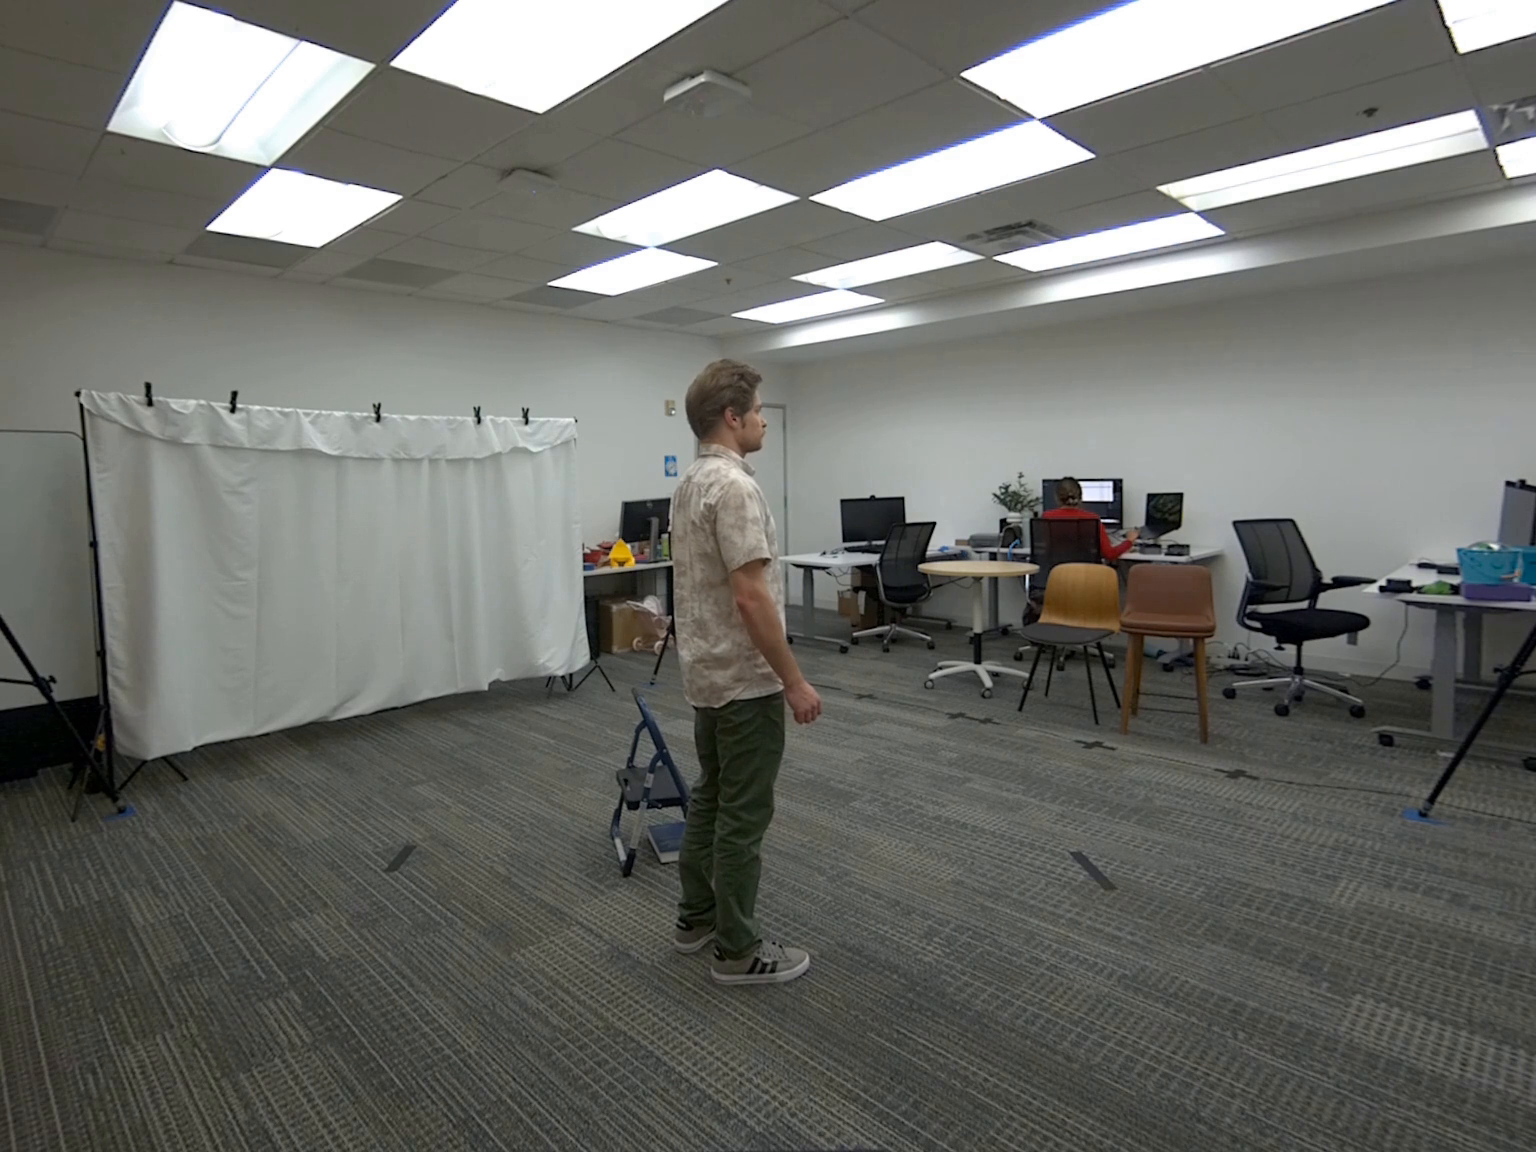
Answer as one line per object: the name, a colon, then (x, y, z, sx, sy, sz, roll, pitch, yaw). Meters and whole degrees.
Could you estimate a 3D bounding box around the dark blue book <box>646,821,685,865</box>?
dark blue book: (-0.361, 1.009, 3.250, 0.161, 0.045, 0.250, -2, 8, -18)
